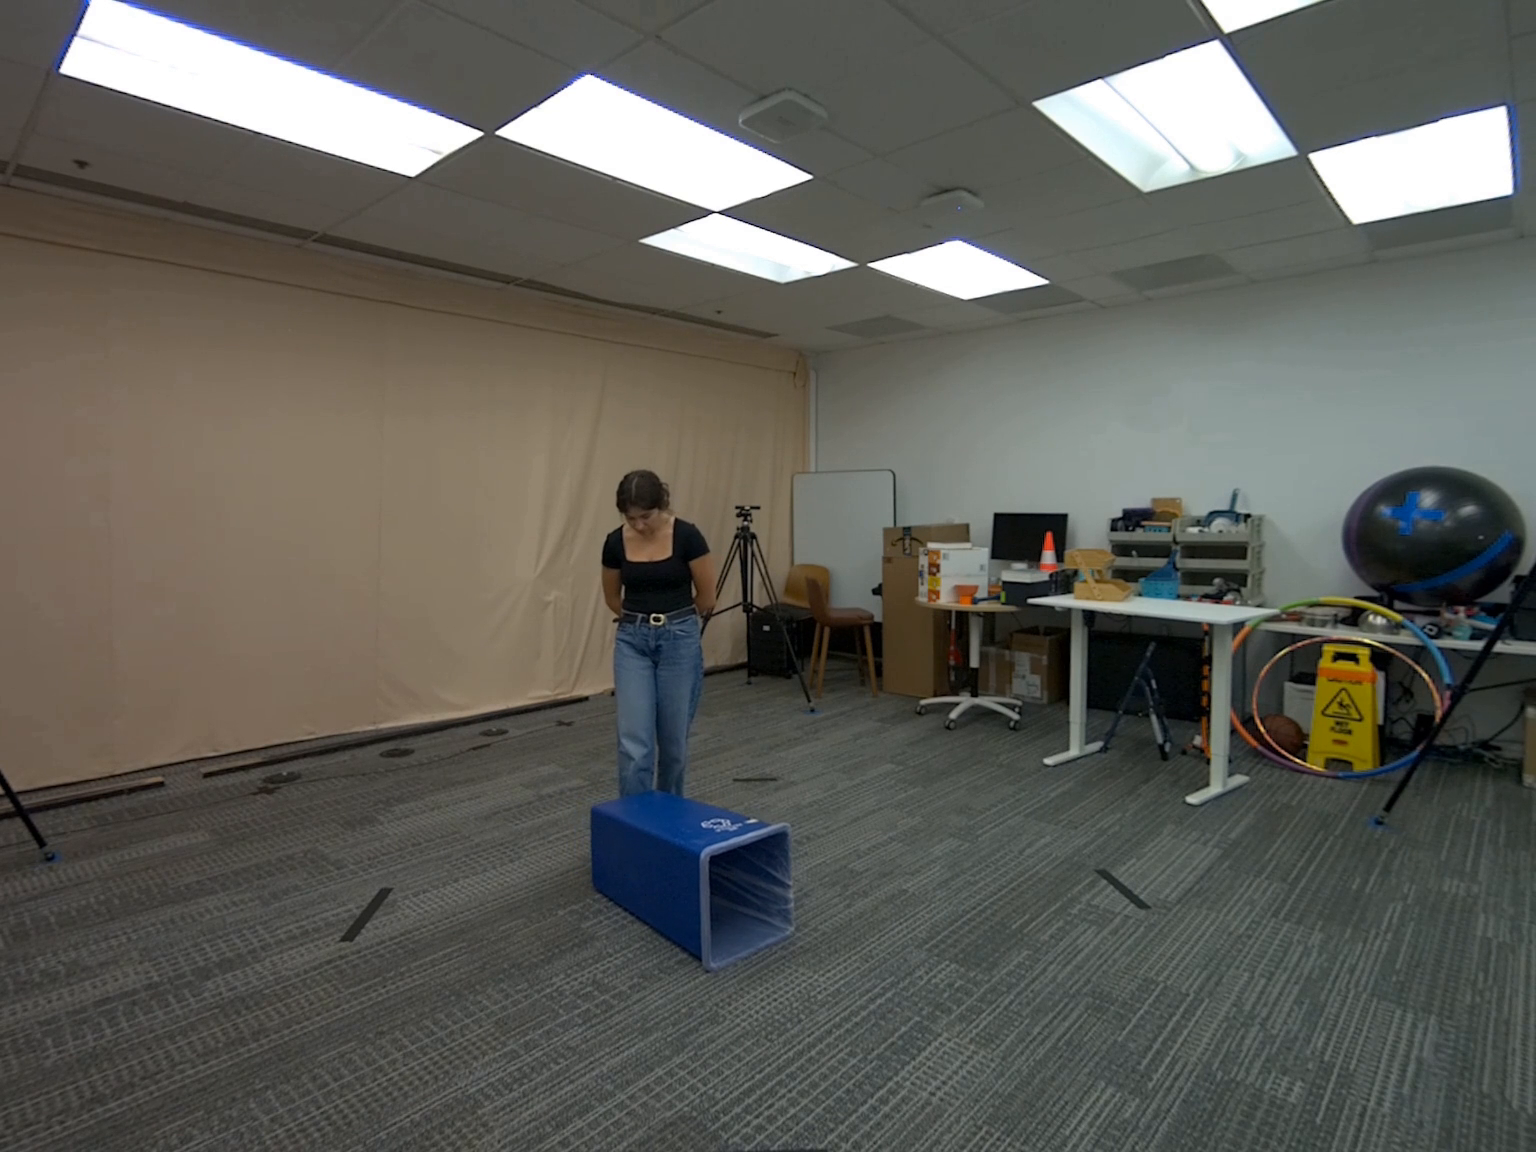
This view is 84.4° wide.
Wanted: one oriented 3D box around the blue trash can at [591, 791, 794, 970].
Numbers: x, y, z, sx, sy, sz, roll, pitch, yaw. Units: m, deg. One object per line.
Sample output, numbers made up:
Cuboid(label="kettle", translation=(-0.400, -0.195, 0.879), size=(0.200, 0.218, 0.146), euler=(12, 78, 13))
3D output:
Cuboid(label="blue trash can", translation=(-0.291, 0.987, 2.879), size=(0.362, 0.378, 0.736), euler=(-3, 2, -42))
